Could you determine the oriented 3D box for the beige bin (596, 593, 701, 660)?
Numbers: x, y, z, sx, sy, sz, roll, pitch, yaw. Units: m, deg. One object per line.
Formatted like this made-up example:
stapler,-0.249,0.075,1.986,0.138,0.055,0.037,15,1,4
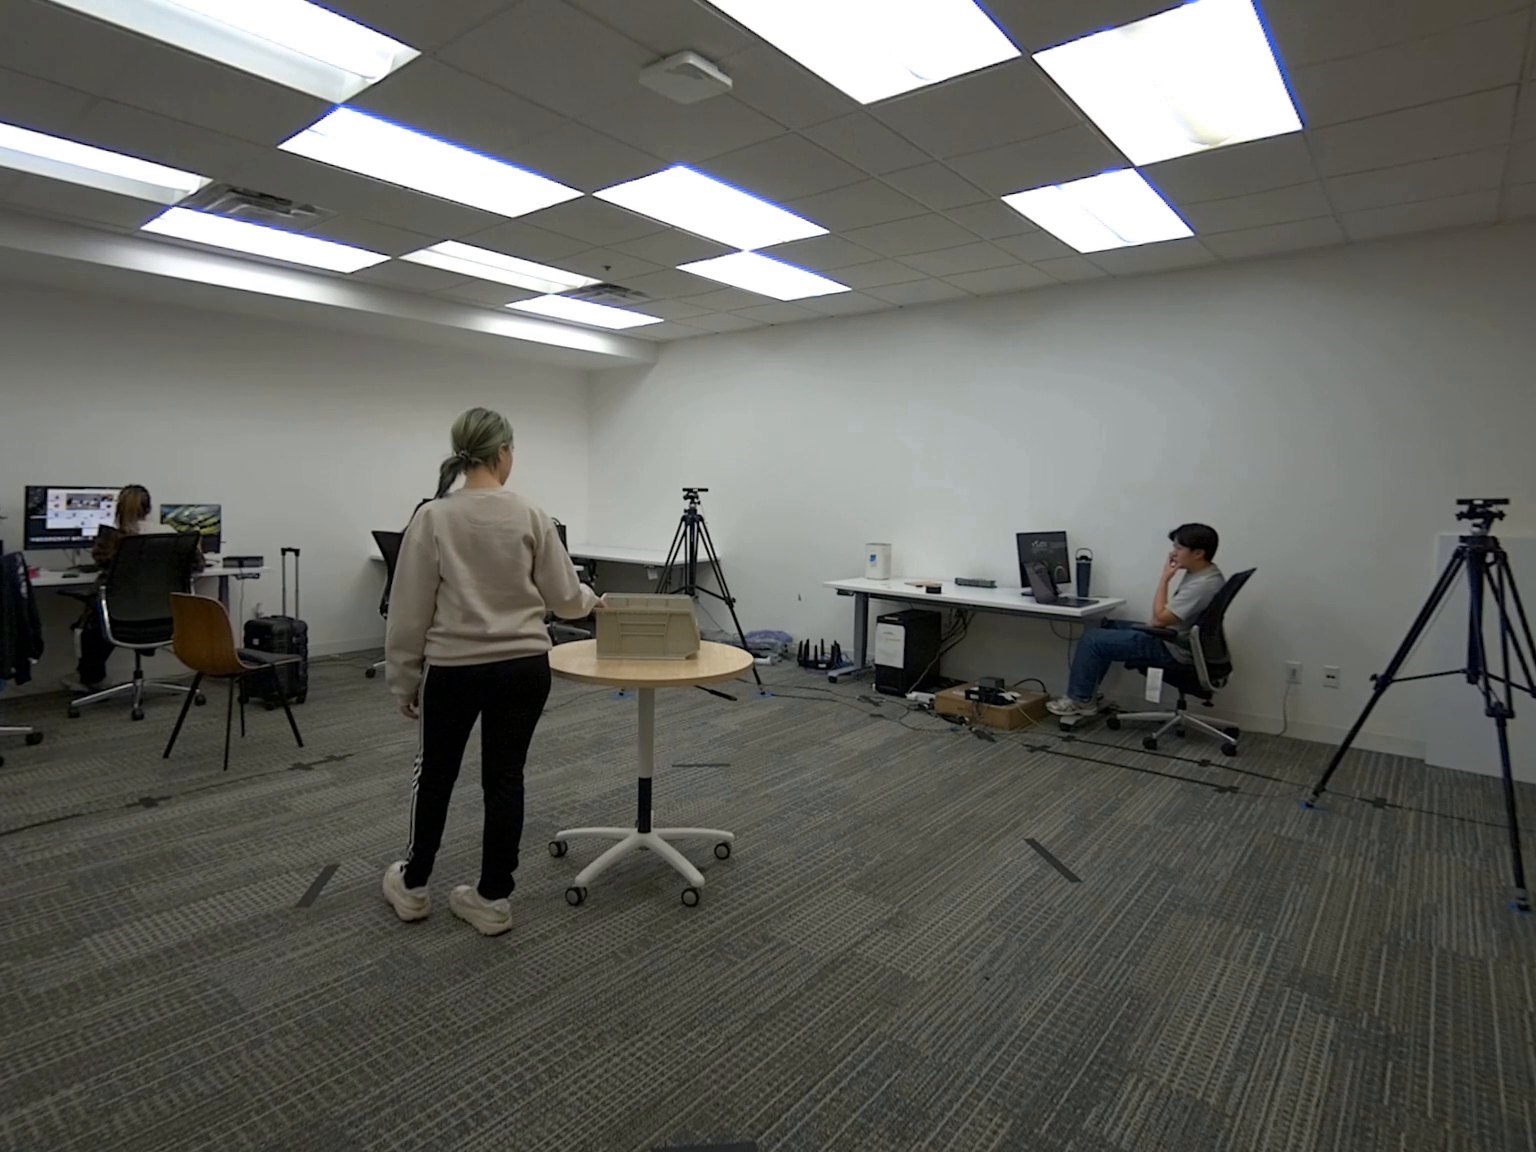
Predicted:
beige bin,-0.457,0.181,3.191,0.376,0.188,0.425,-1,6,-3
